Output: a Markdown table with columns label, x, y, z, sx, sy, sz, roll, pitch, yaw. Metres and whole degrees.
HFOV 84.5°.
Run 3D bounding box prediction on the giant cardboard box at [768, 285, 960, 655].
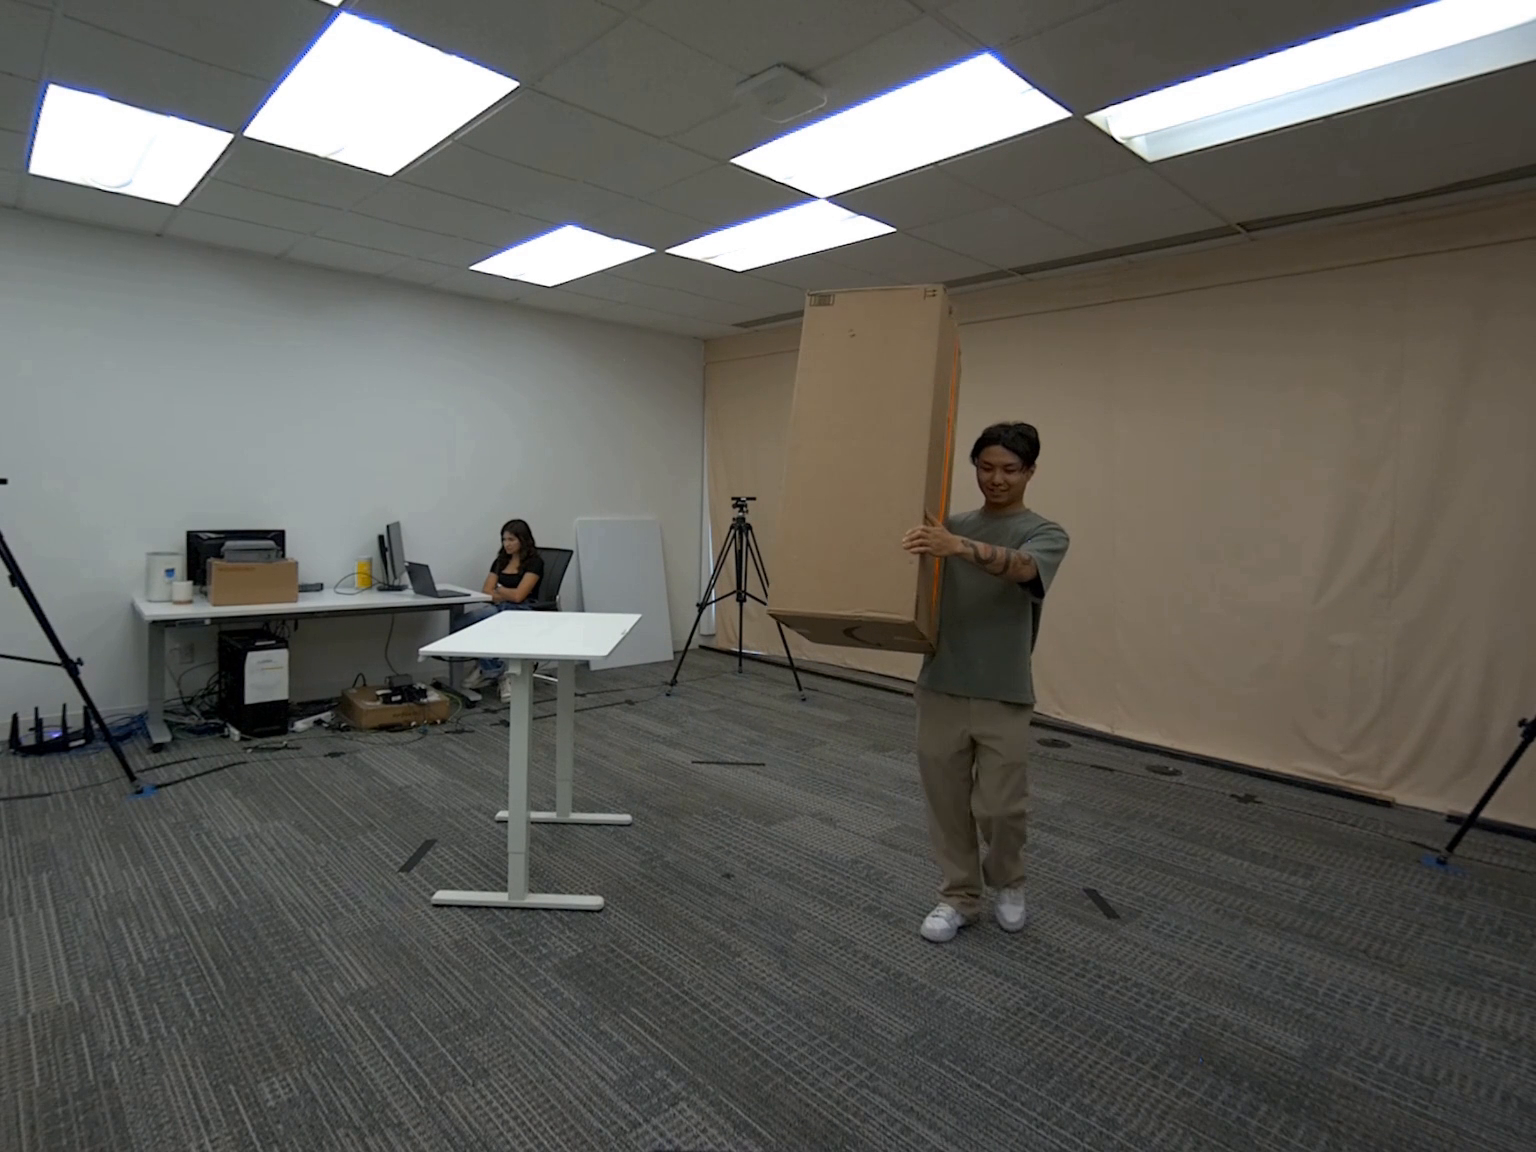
| label | x | y | z | sx | sy | sz | roll | pitch | yaw |
| --- | --- | --- | --- | --- | --- | --- | --- | --- | --- |
| giant cardboard box | 0.336 | -0.307 | 2.683 | 0.433 | 1.034 | 0.563 | 3 | -14 | 20 |
